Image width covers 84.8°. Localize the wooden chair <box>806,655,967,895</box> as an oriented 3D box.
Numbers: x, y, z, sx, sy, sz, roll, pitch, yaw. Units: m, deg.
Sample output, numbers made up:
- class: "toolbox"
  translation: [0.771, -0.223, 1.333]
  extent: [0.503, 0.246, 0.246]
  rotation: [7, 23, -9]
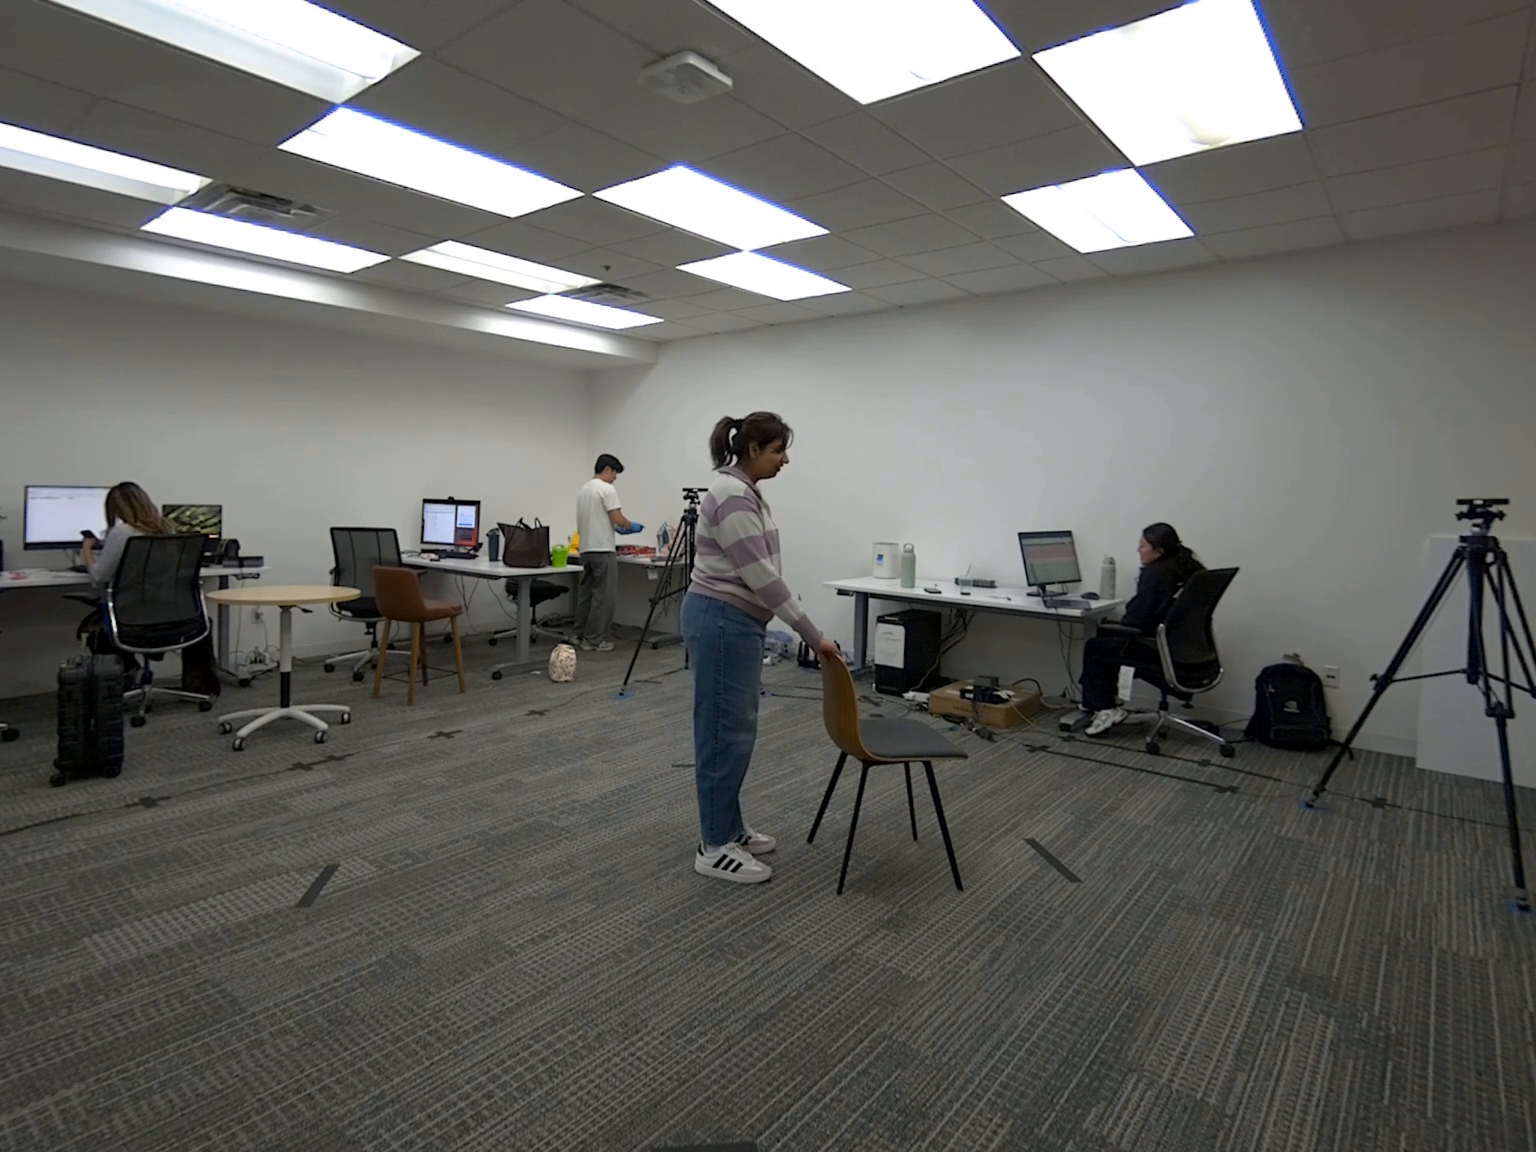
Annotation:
- class: "wooden chair"
  translation: [0.435, 0.652, 3.152]
  extent: [0.519, 0.874, 0.484]
  rotation: [-3, 4, -9]
